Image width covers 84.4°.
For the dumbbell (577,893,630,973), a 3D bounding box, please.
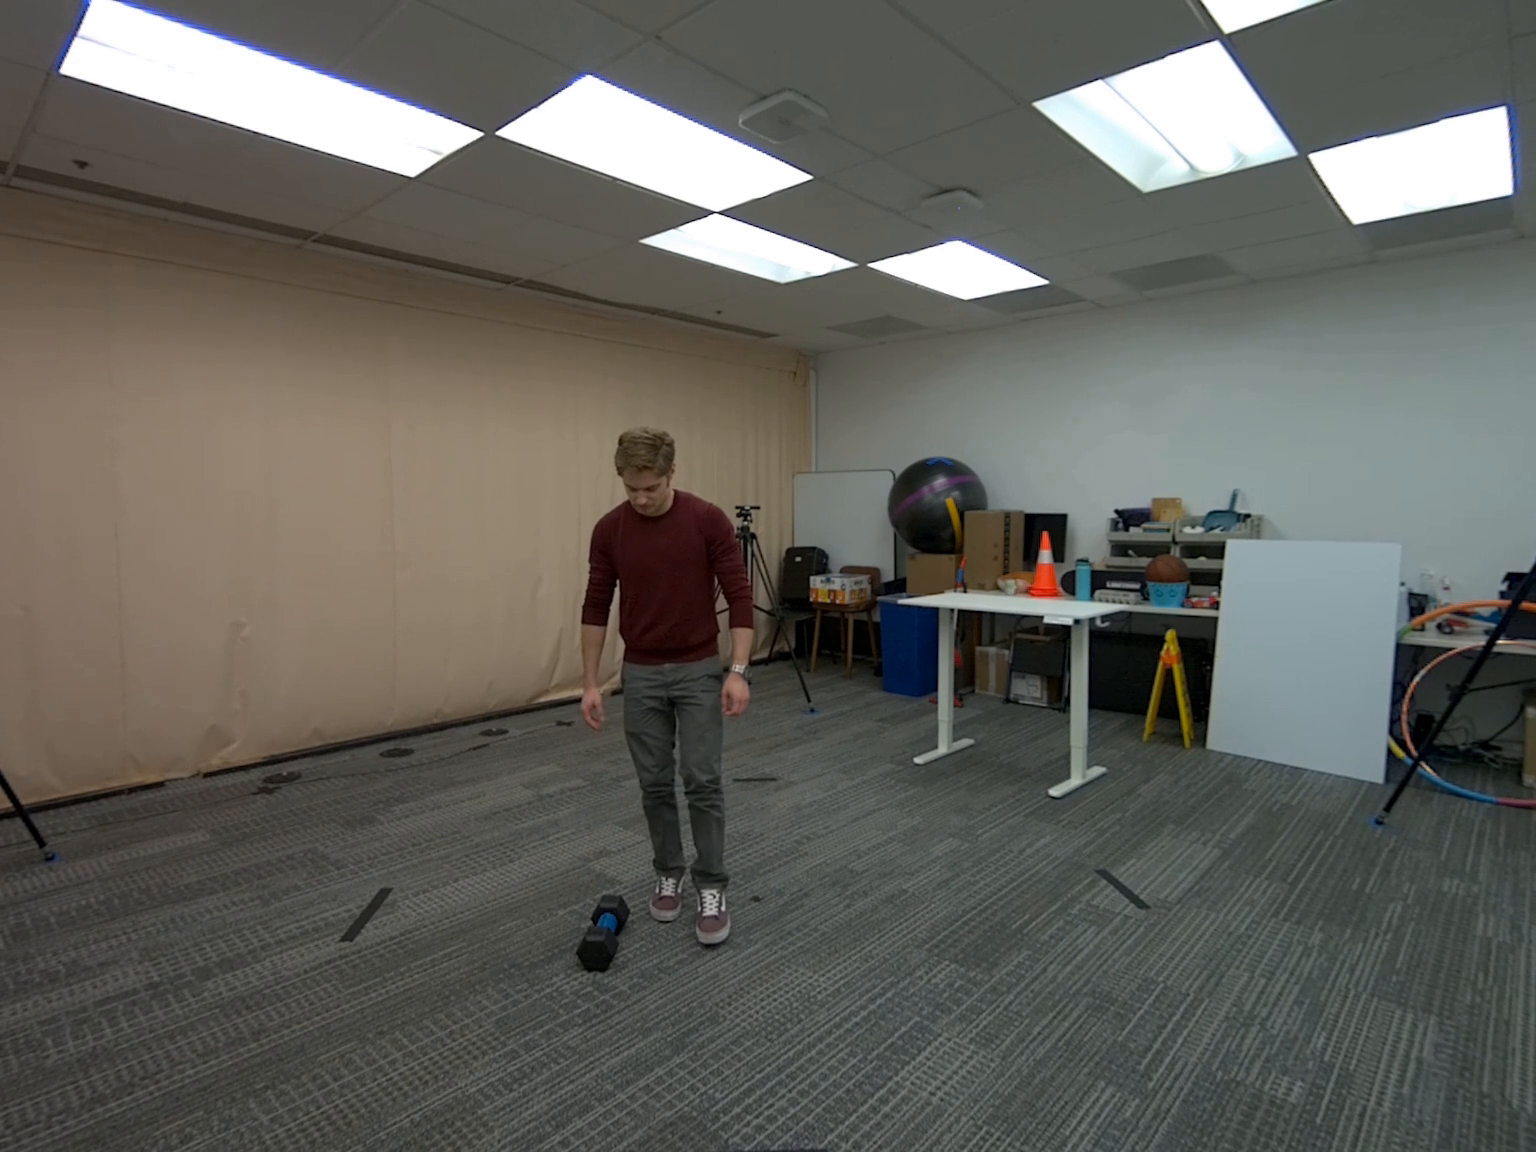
[{"bbox_3d":[-0.518,1.124,2.651,0.108,0.123,0.294,31,4,-2],"label":"dumbbell"}]
